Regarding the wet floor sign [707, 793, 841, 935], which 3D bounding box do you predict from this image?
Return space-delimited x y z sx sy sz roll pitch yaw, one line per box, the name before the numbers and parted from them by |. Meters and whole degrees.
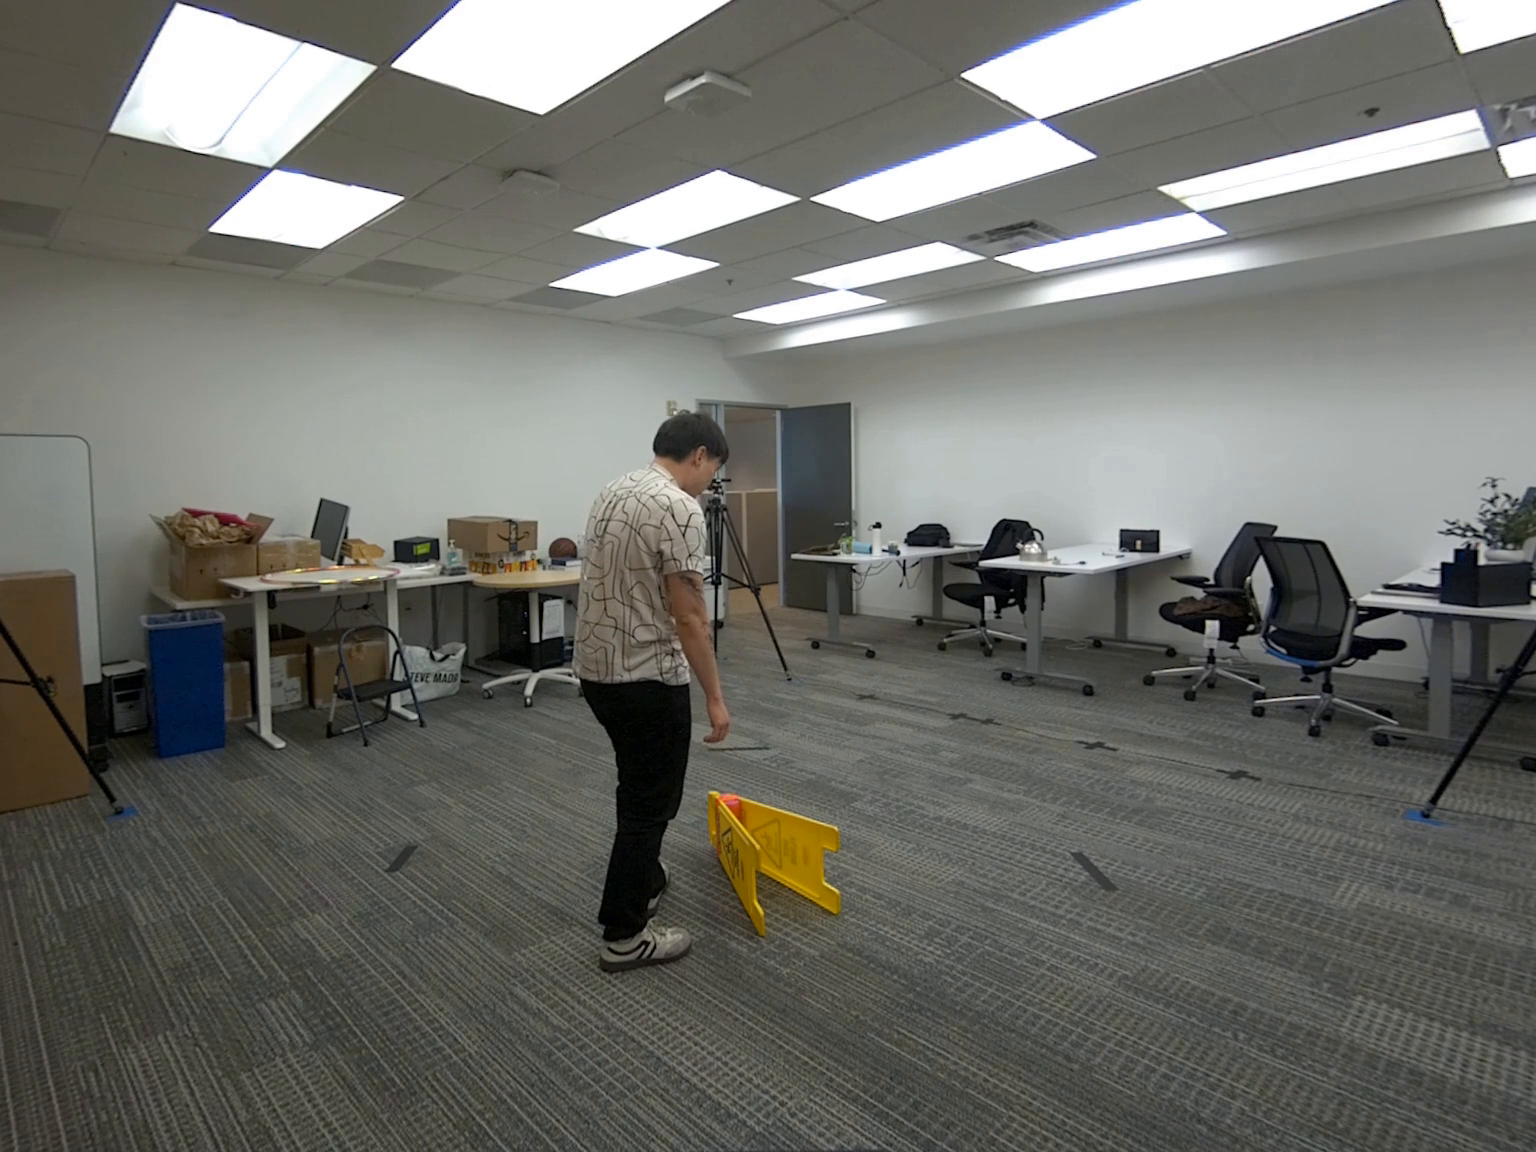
wet floor sign | -0.057 0.931 2.949 0.283 0.281 0.663 -3 5 -29
